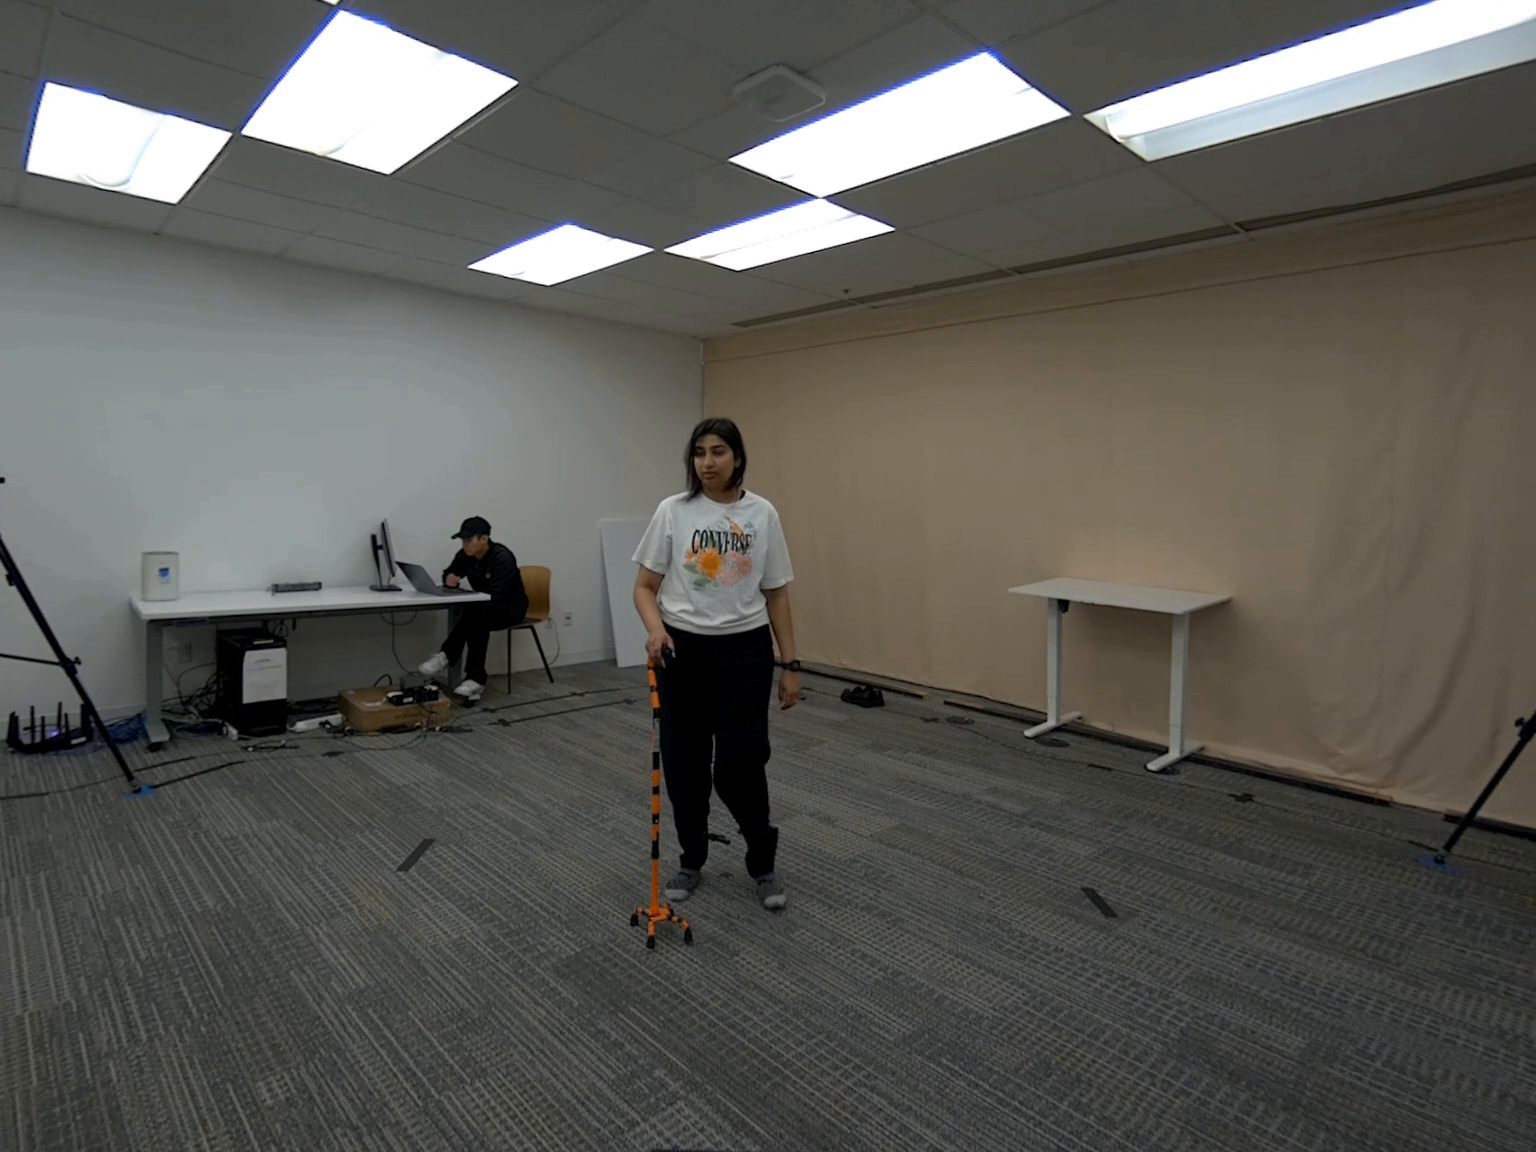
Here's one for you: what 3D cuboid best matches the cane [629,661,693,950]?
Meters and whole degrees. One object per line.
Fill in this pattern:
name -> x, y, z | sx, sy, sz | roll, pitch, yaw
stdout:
cane -> -0.346, 0.683, 2.675 | 0.149, 0.908, 0.210 | 1, -1, -28
